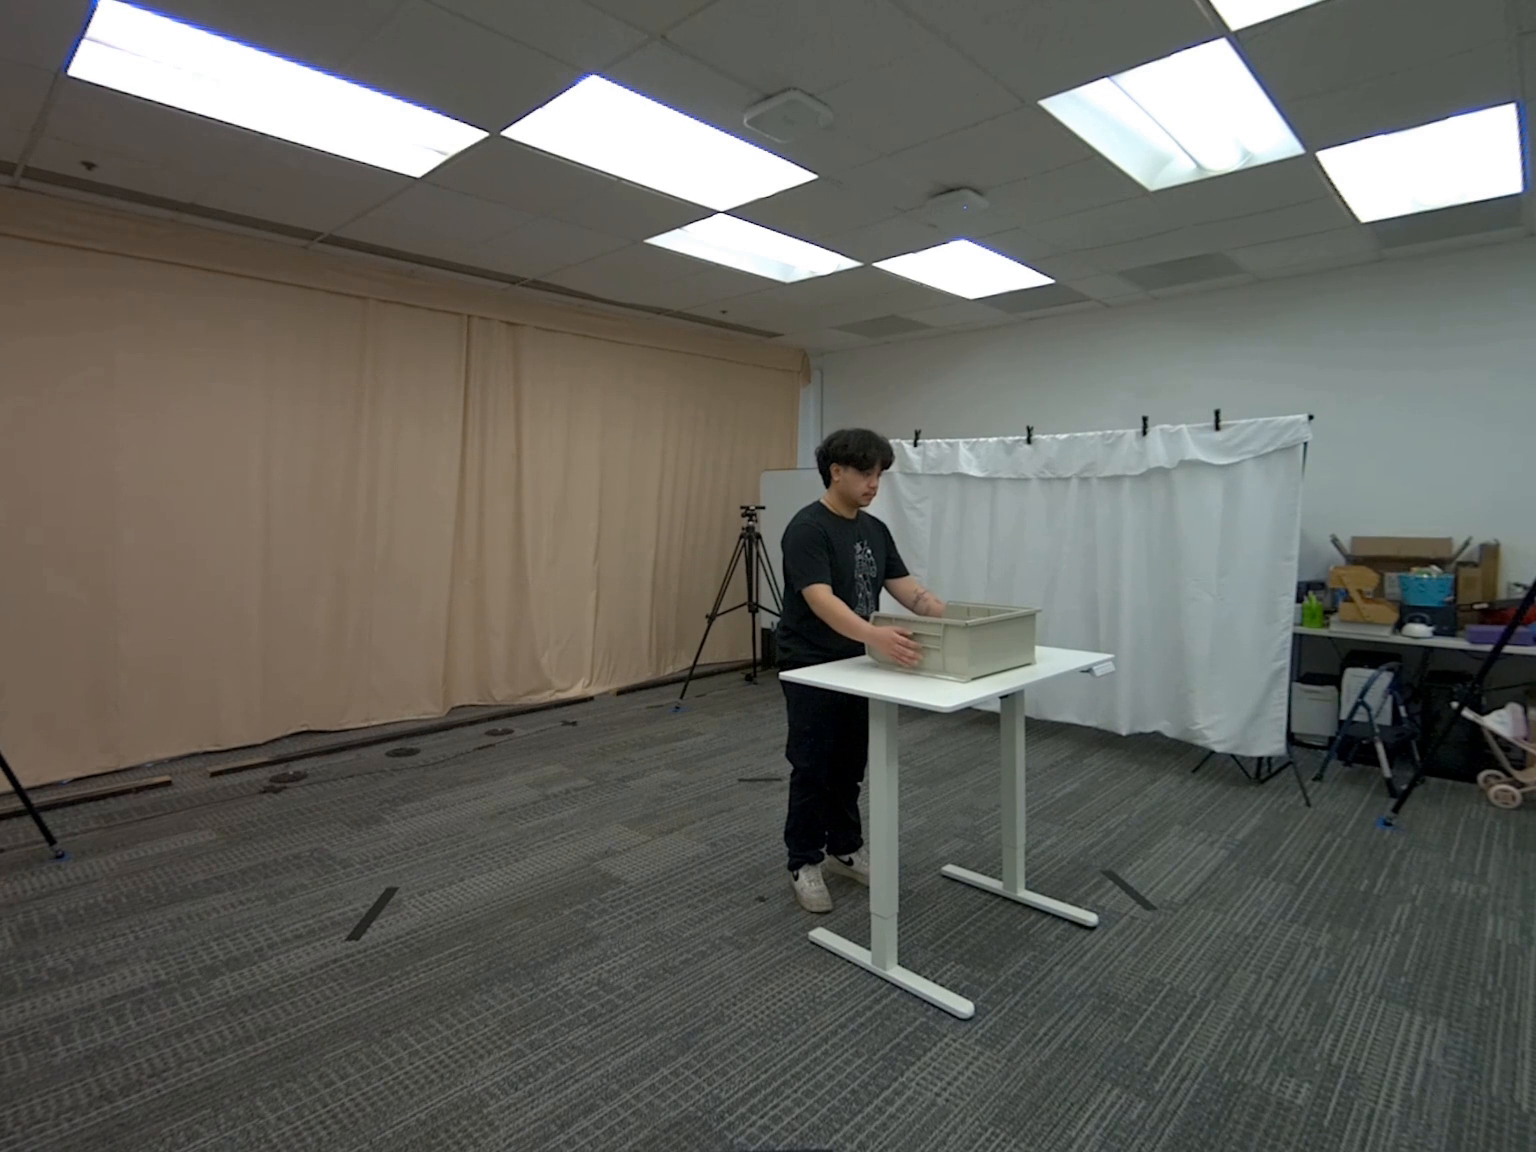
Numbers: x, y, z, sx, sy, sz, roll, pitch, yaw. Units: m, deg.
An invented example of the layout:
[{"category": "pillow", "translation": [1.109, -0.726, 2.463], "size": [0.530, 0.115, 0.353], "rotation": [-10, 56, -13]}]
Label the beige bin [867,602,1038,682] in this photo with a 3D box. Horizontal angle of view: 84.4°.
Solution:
[{"category": "beige bin", "translation": [0.586, 0.202, 2.673], "size": [0.409, 0.188, 0.390], "rotation": [-4, 6, -42]}]
